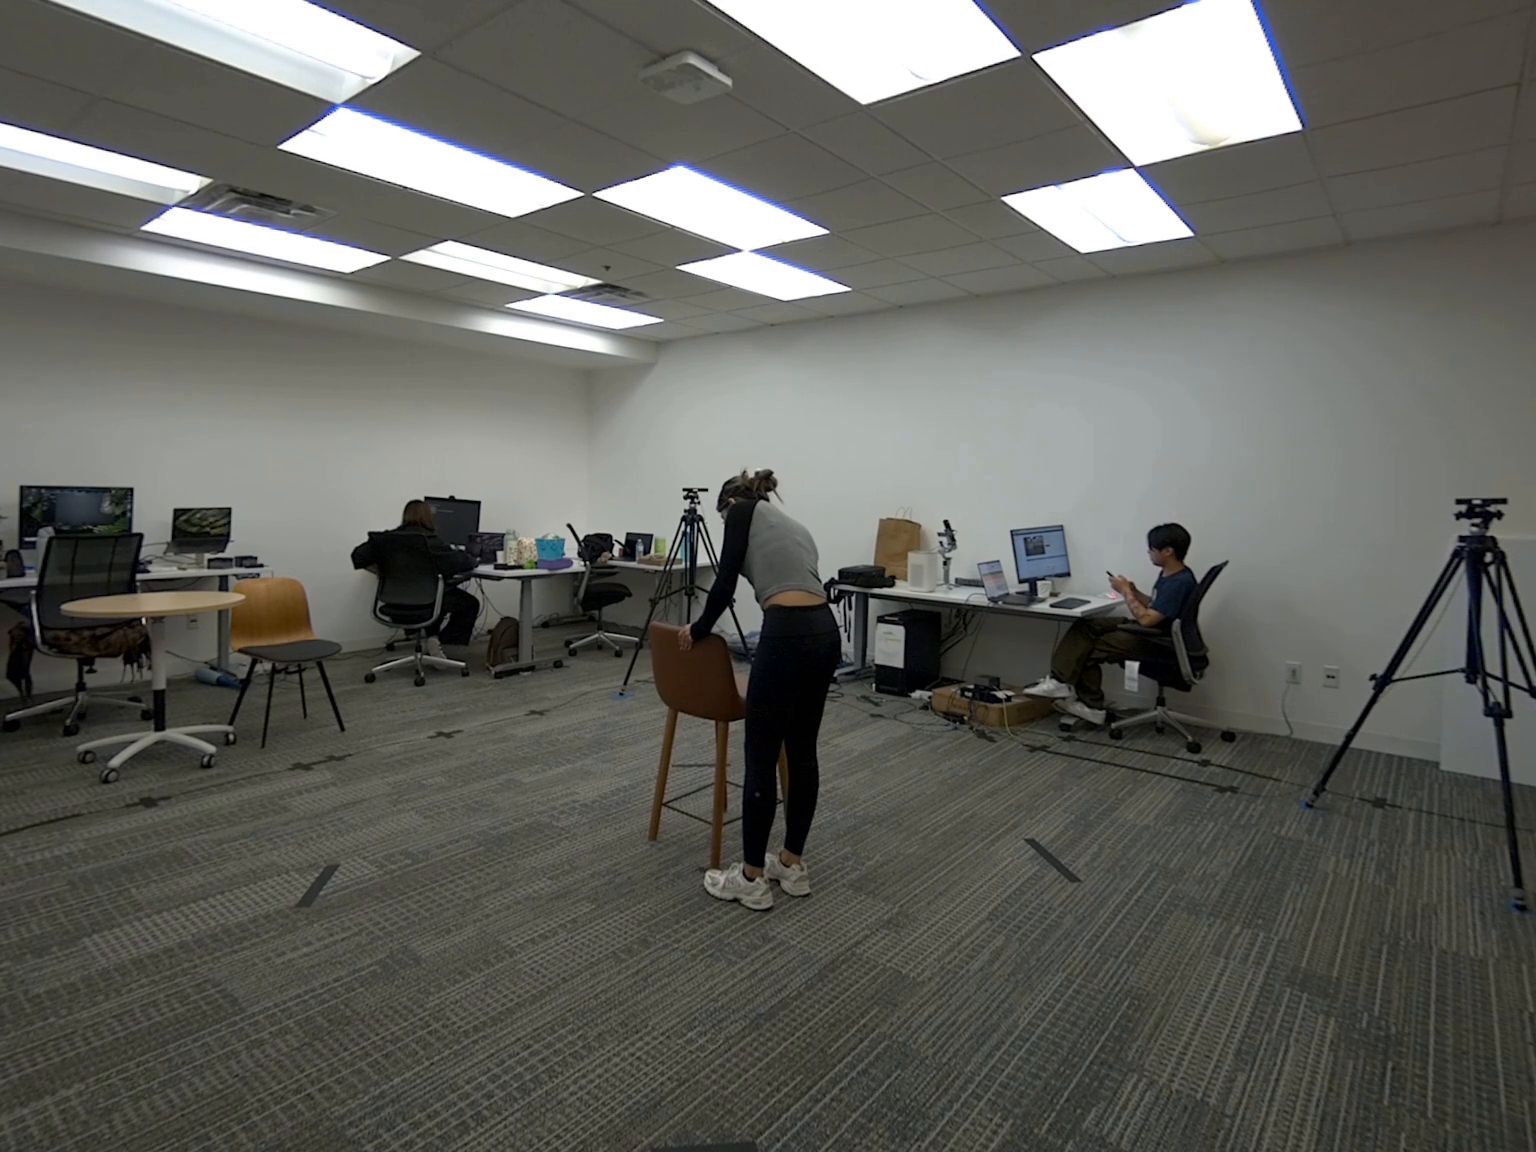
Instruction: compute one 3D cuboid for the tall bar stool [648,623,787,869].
[{"bbox_3d":[-0.204,0.604,3.373,0.472,0.885,0.454,4,7,42],"label":"tall bar stool"}]
